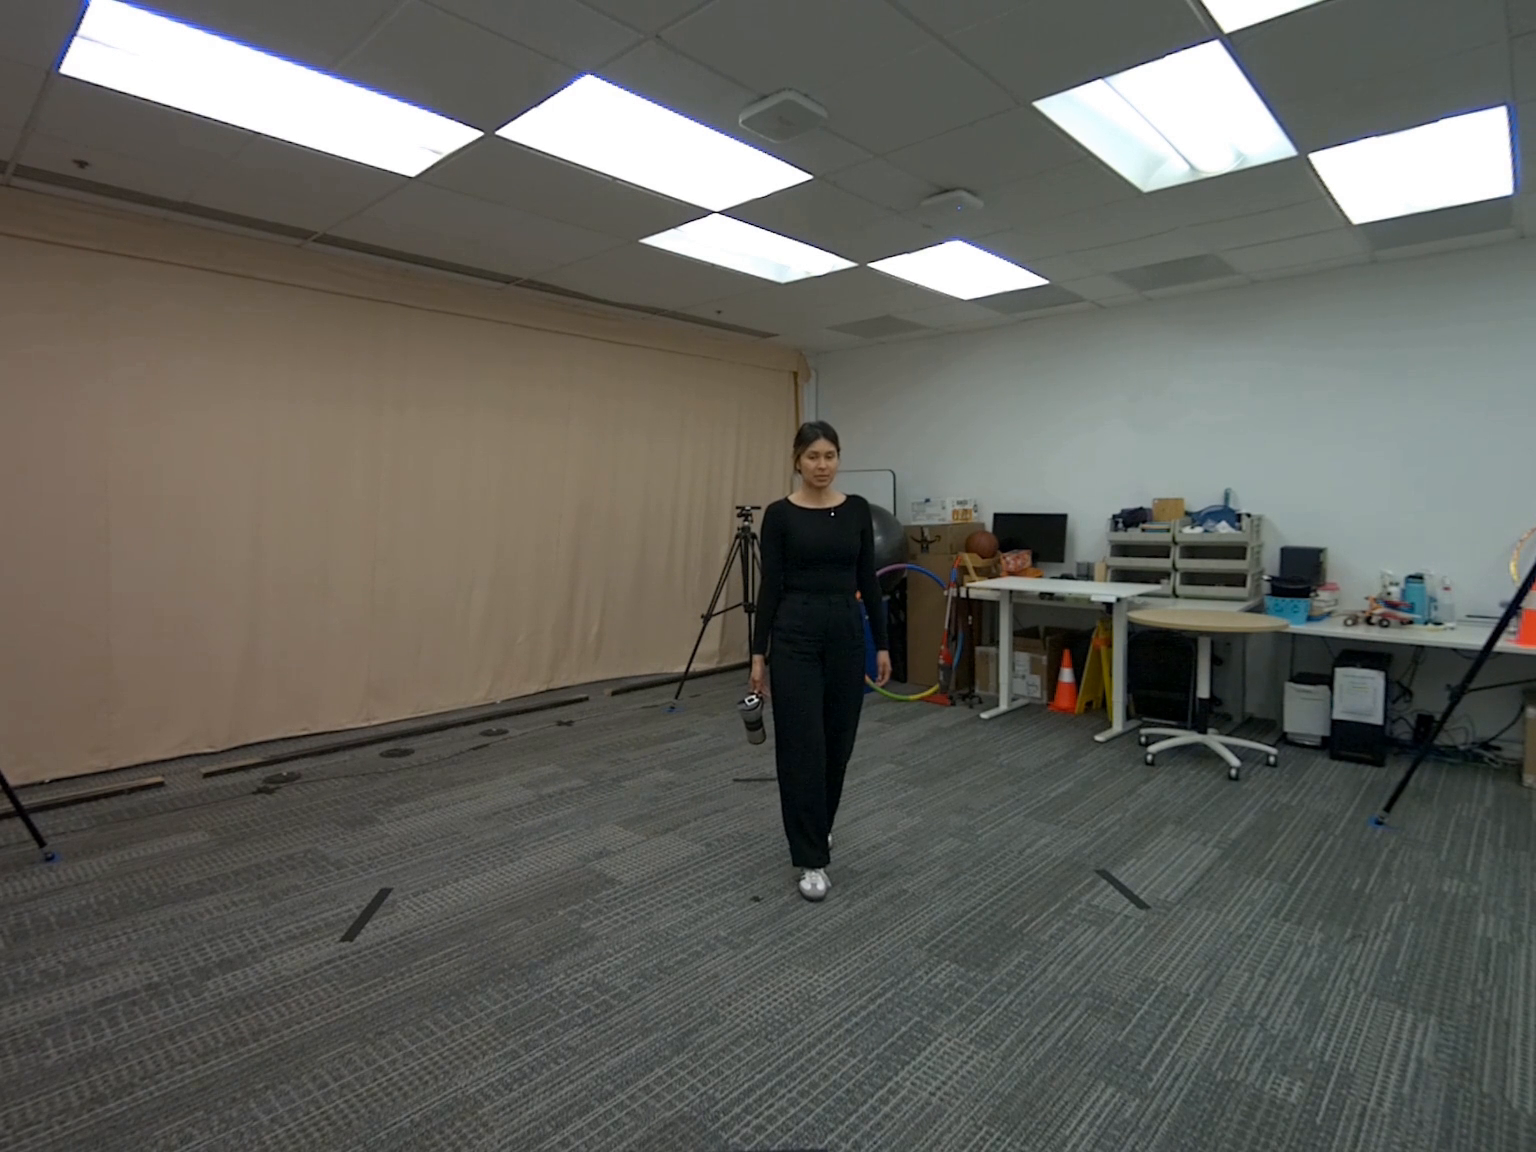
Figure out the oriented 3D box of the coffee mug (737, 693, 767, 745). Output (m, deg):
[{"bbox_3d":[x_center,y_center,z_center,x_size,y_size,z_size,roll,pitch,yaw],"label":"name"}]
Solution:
[{"bbox_3d":[-0.034,0.544,3.117,0.126,0.199,0.086,14,35,37],"label":"coffee mug"}]
